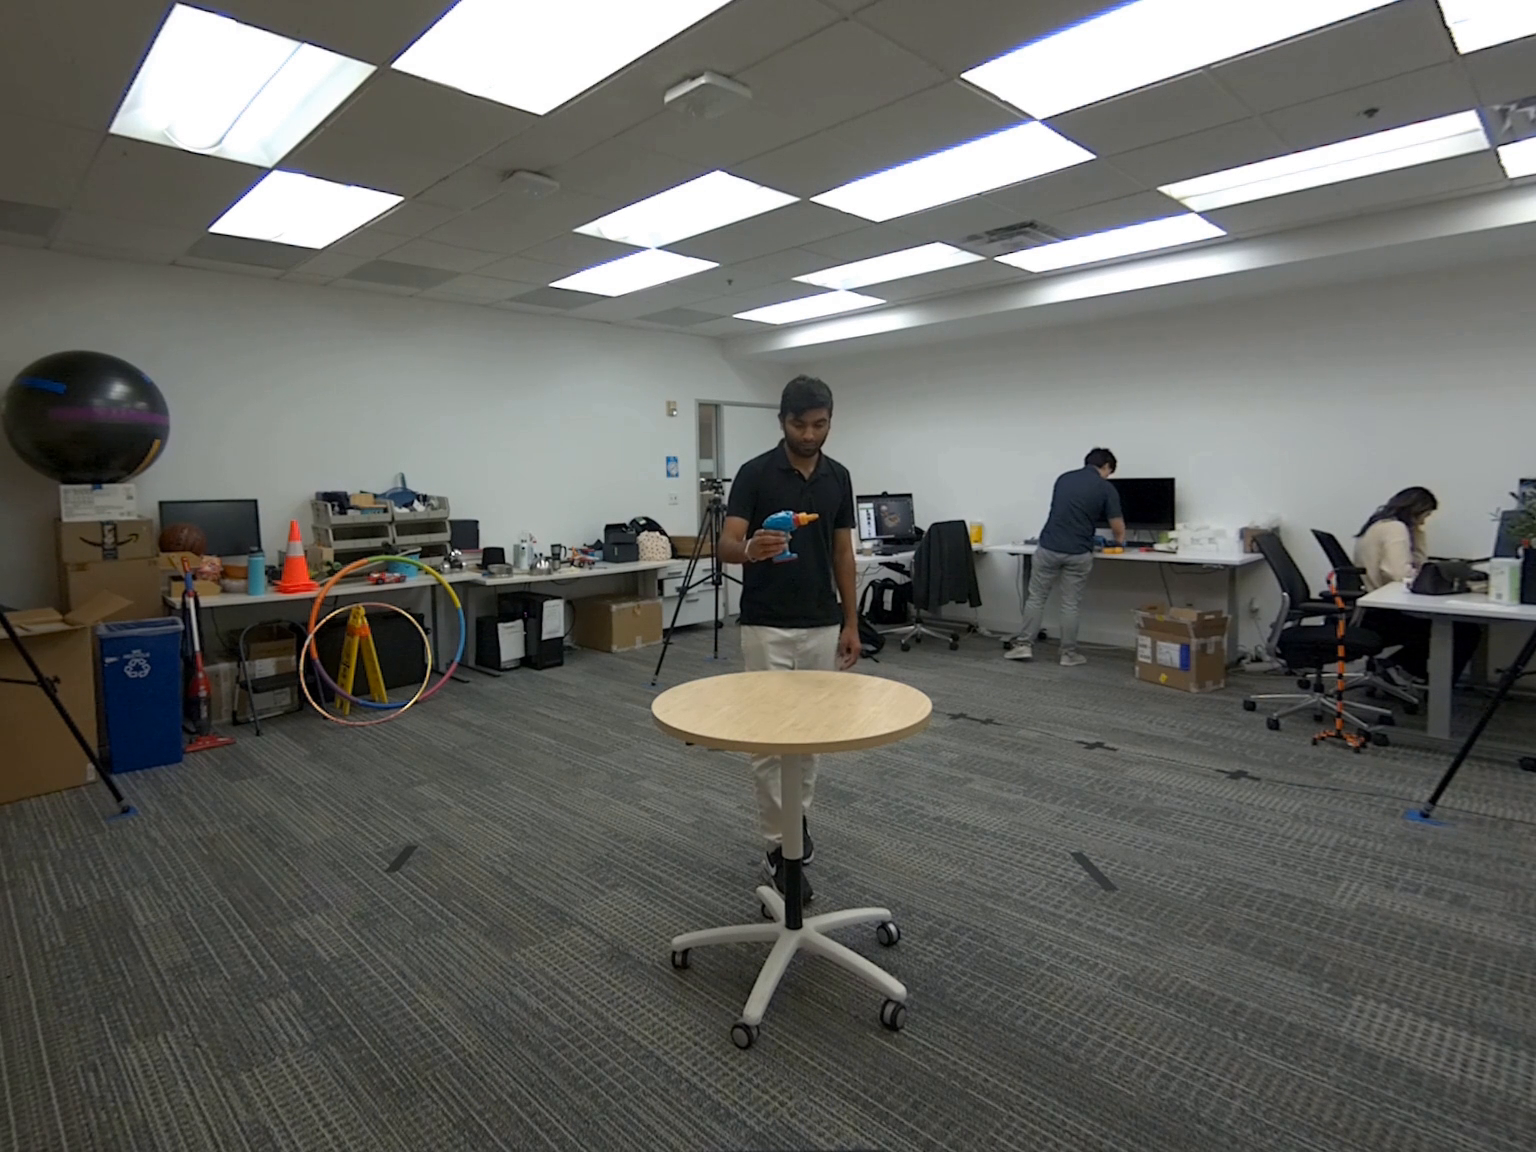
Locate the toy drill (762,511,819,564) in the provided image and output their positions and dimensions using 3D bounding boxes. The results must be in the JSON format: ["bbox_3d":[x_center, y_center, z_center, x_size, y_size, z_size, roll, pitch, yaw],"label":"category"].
[{"bbox_3d":[0.065,-0.121,2.533,0.171,0.145,0.061,-10,6,13],"label":"toy drill"}]
